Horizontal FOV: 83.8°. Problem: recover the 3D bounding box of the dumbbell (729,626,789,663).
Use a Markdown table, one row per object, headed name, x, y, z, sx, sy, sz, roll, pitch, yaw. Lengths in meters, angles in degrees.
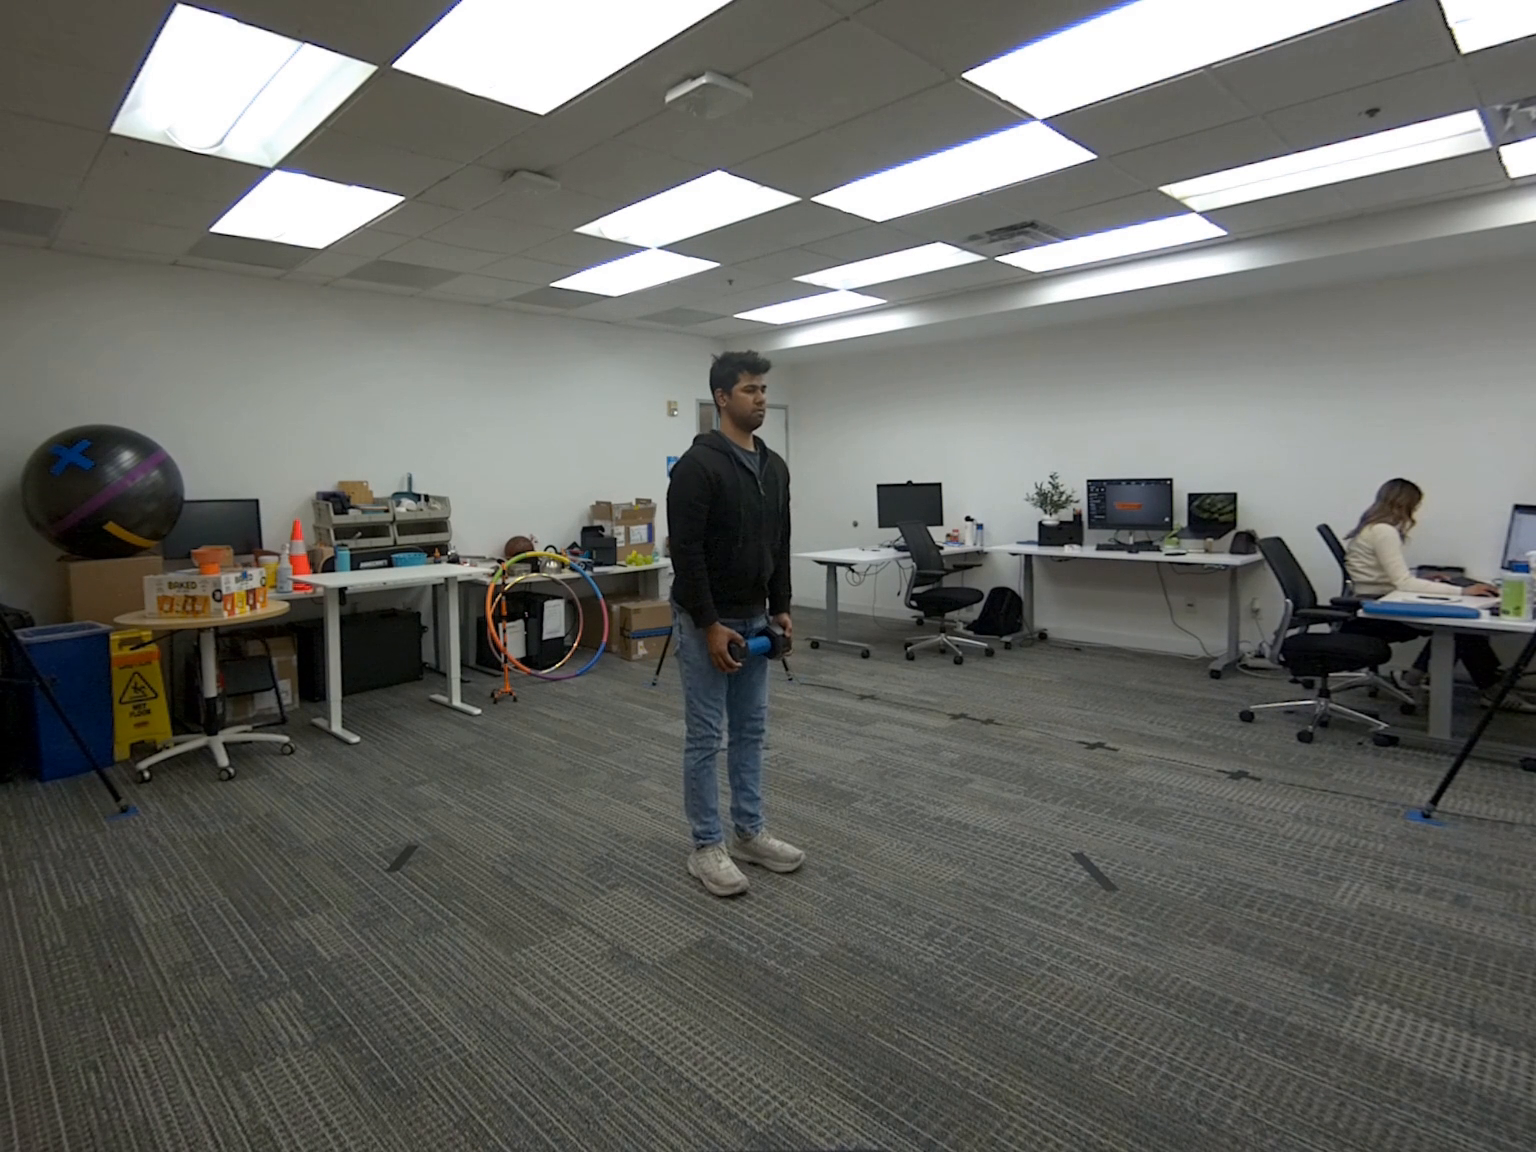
| name | x | y | z | sx | sy | sz | roll | pitch | yaw |
| --- | --- | --- | --- | --- | --- | --- | --- | --- | --- |
| dumbbell | -0.060 | 0.254 | 2.955 | 0.286 | 0.111 | 0.123 | -10 | -25 | -40 |
